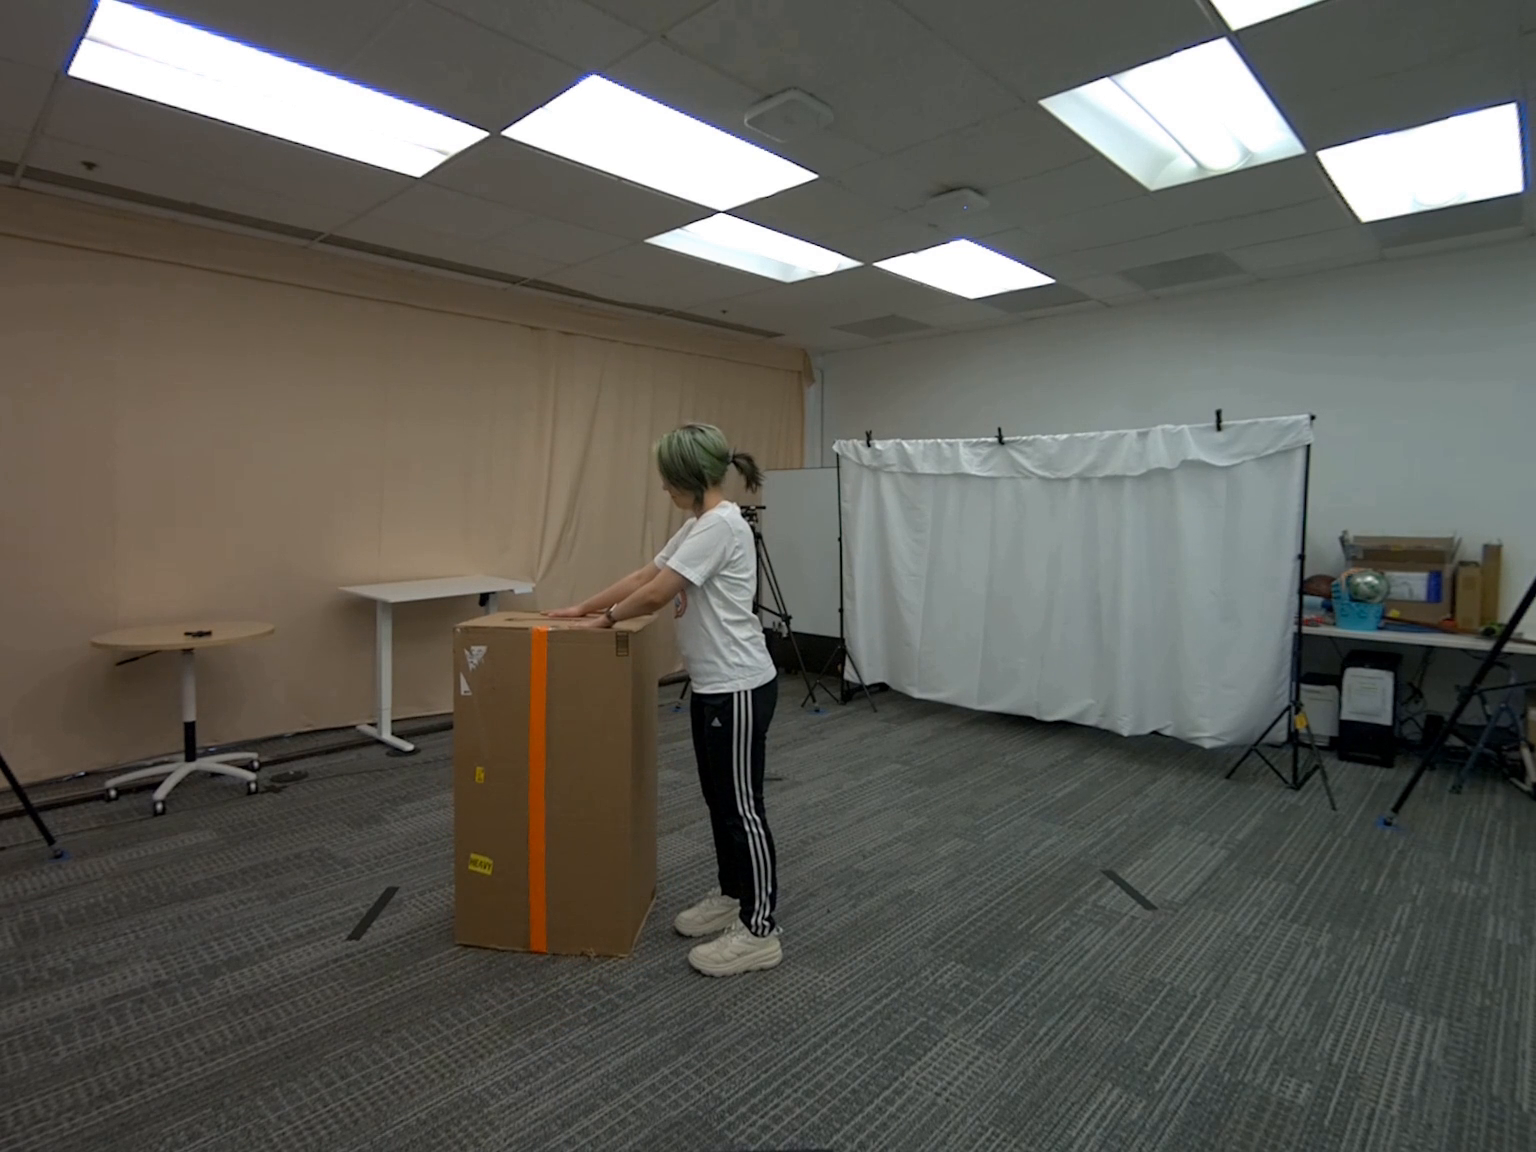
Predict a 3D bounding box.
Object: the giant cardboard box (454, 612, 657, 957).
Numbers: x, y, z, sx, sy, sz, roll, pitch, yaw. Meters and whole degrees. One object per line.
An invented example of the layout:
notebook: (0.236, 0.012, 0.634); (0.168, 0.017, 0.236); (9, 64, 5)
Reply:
giant cardboard box: (-0.697, 0.656, 2.822); (0.588, 1.026, 0.444); (1, 1, 6)
